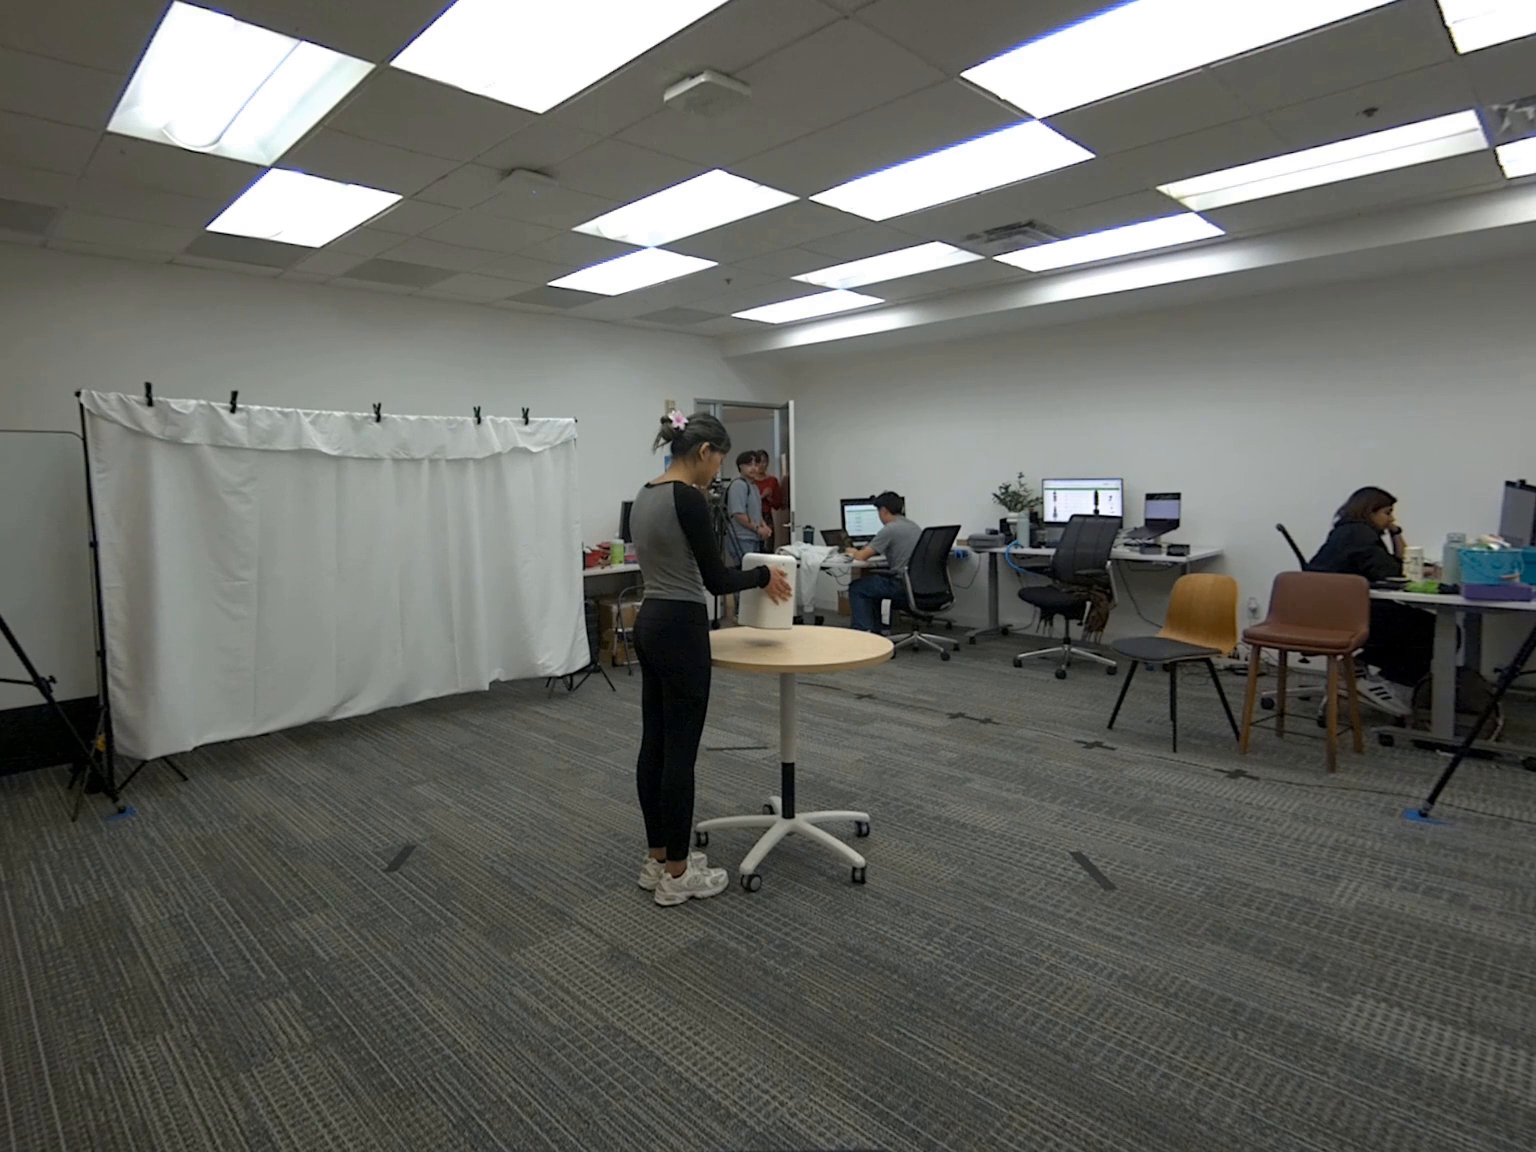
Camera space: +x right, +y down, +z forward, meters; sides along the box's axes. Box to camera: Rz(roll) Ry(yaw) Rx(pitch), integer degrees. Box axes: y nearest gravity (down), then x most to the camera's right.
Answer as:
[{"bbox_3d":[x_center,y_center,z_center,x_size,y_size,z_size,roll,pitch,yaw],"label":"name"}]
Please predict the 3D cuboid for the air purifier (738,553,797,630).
[{"bbox_3d":[0.004,0.053,3.122,0.166,0.266,0.176,4,-1,-38],"label":"air purifier"}]
